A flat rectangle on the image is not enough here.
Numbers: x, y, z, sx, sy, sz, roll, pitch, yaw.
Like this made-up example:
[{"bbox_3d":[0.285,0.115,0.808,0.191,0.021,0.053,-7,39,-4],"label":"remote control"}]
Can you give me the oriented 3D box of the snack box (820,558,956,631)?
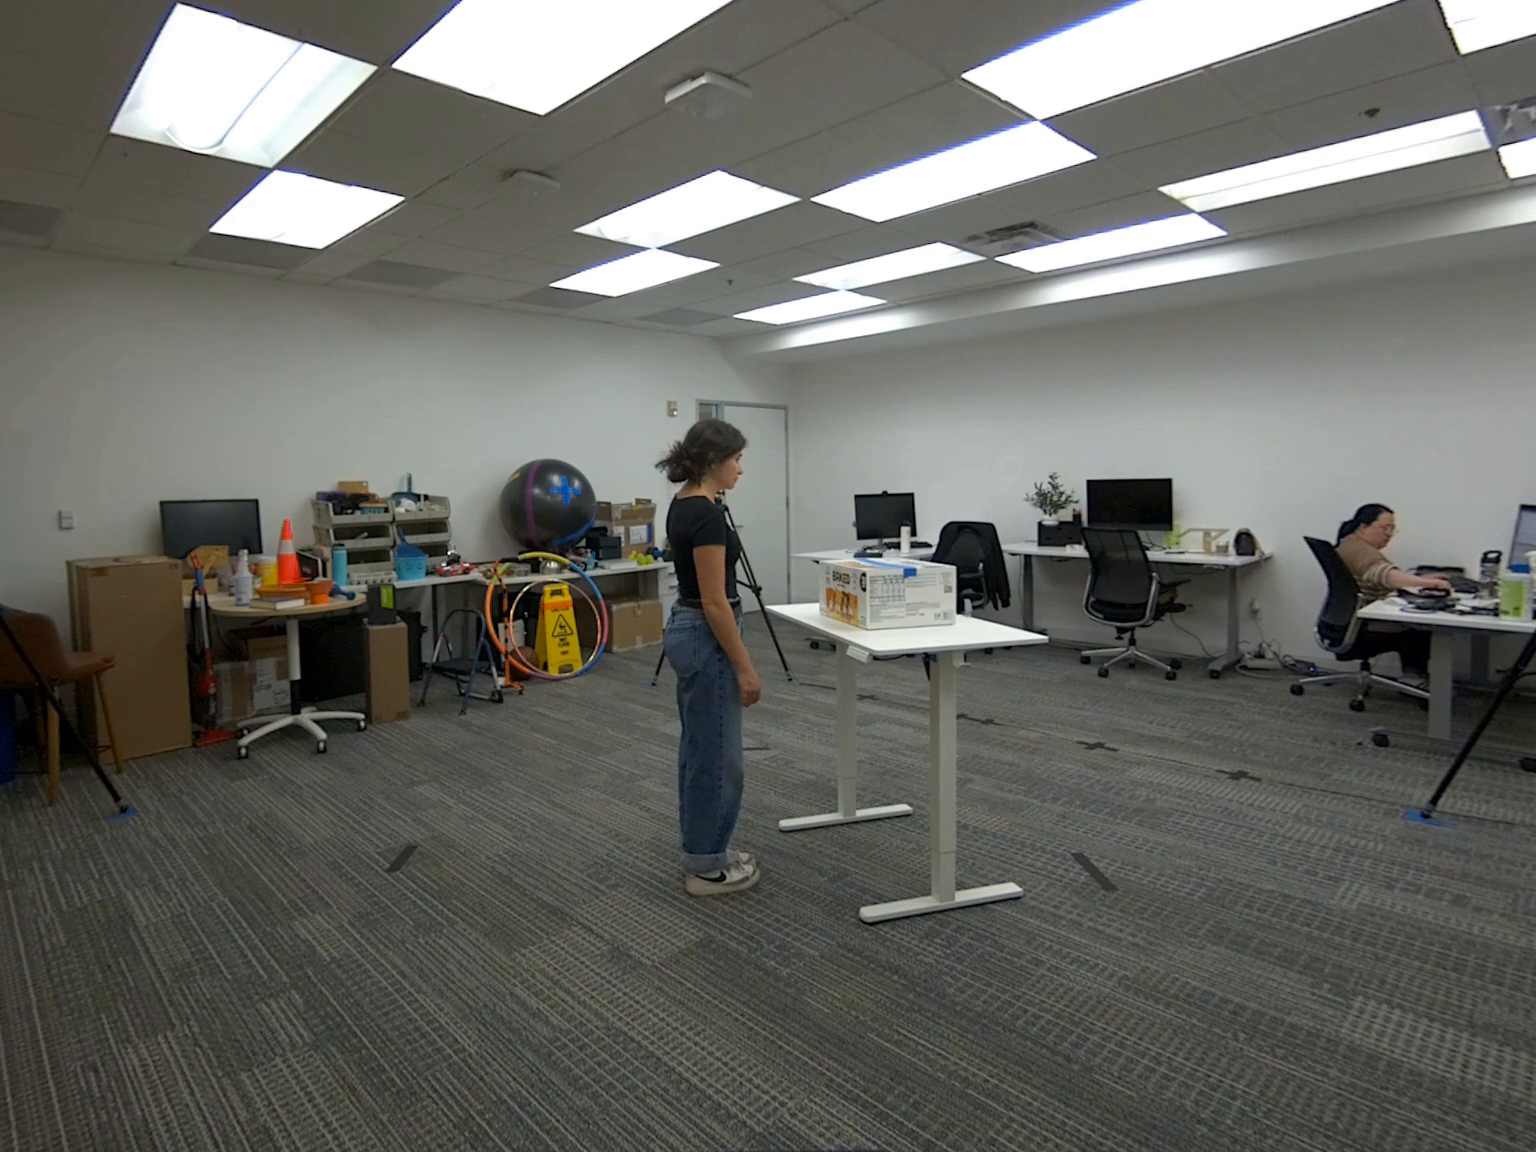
[{"bbox_3d":[0.420,0.055,3.083,0.335,0.205,0.413,-3,6,-18],"label":"snack box"}]
